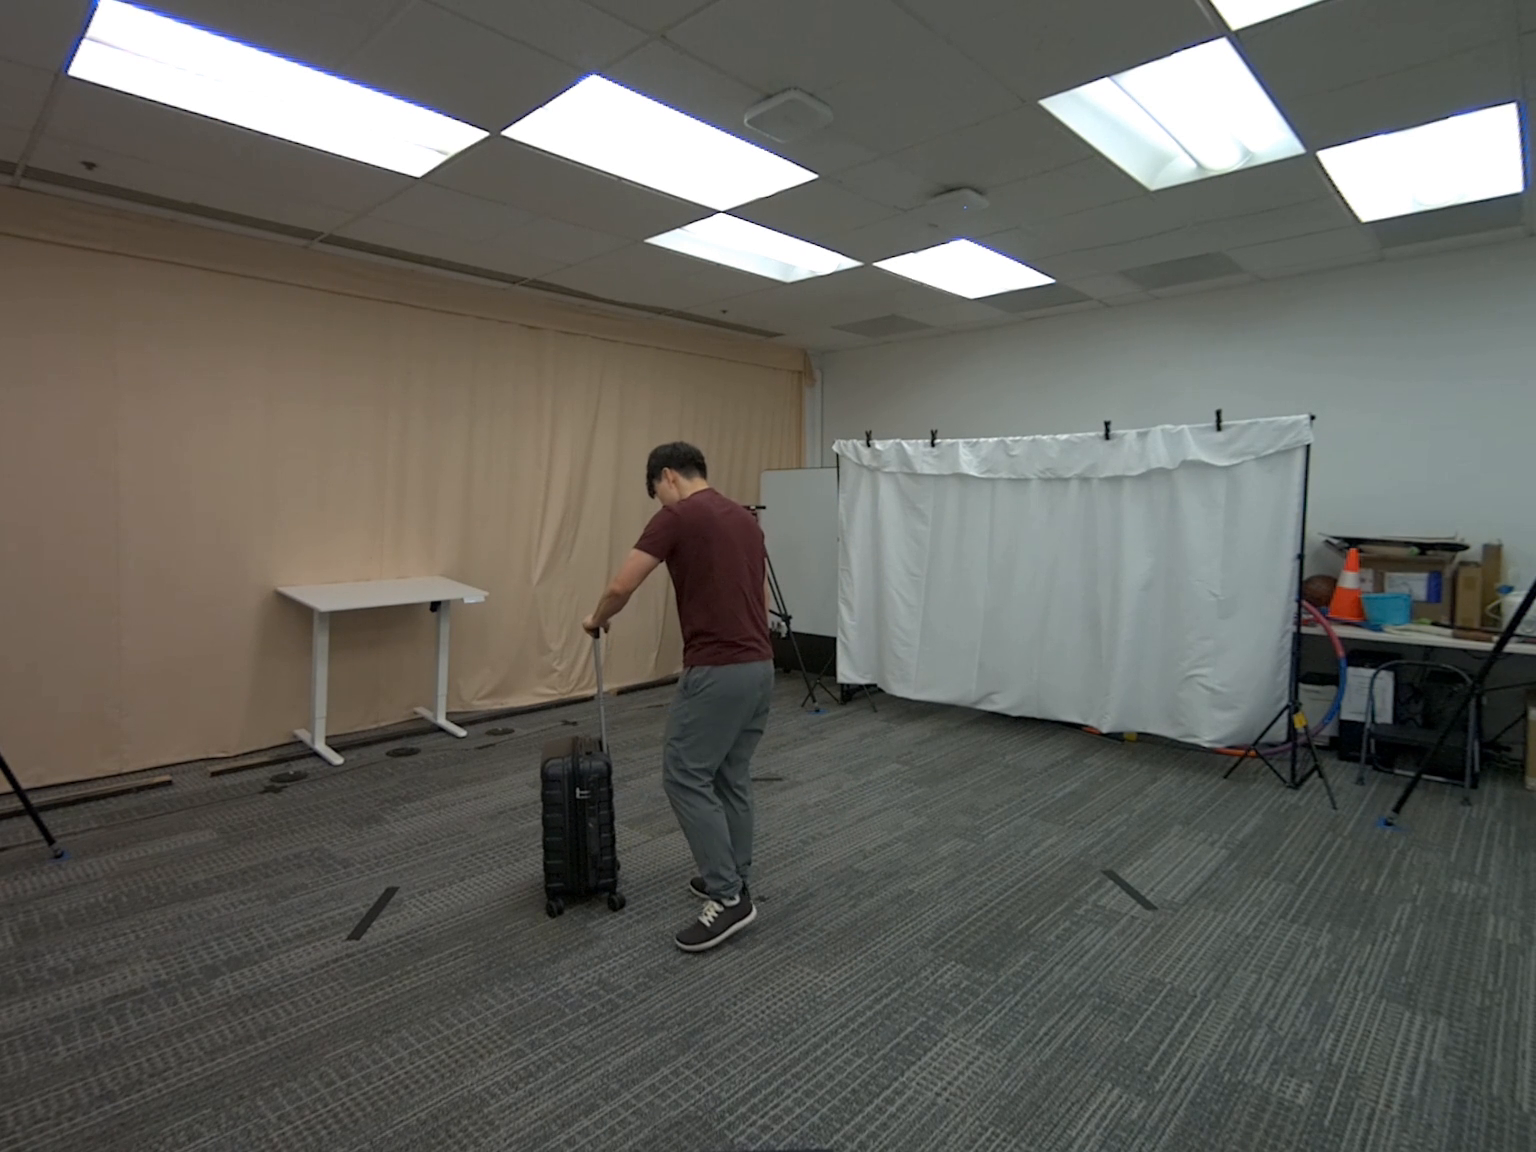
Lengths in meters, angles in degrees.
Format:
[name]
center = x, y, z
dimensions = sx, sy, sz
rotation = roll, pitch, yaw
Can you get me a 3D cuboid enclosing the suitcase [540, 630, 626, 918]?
[suitcase]
center = -0.696, 0.676, 3.028
dimensions = 0.255, 0.977, 0.388
rotation = -5, 3, -10
